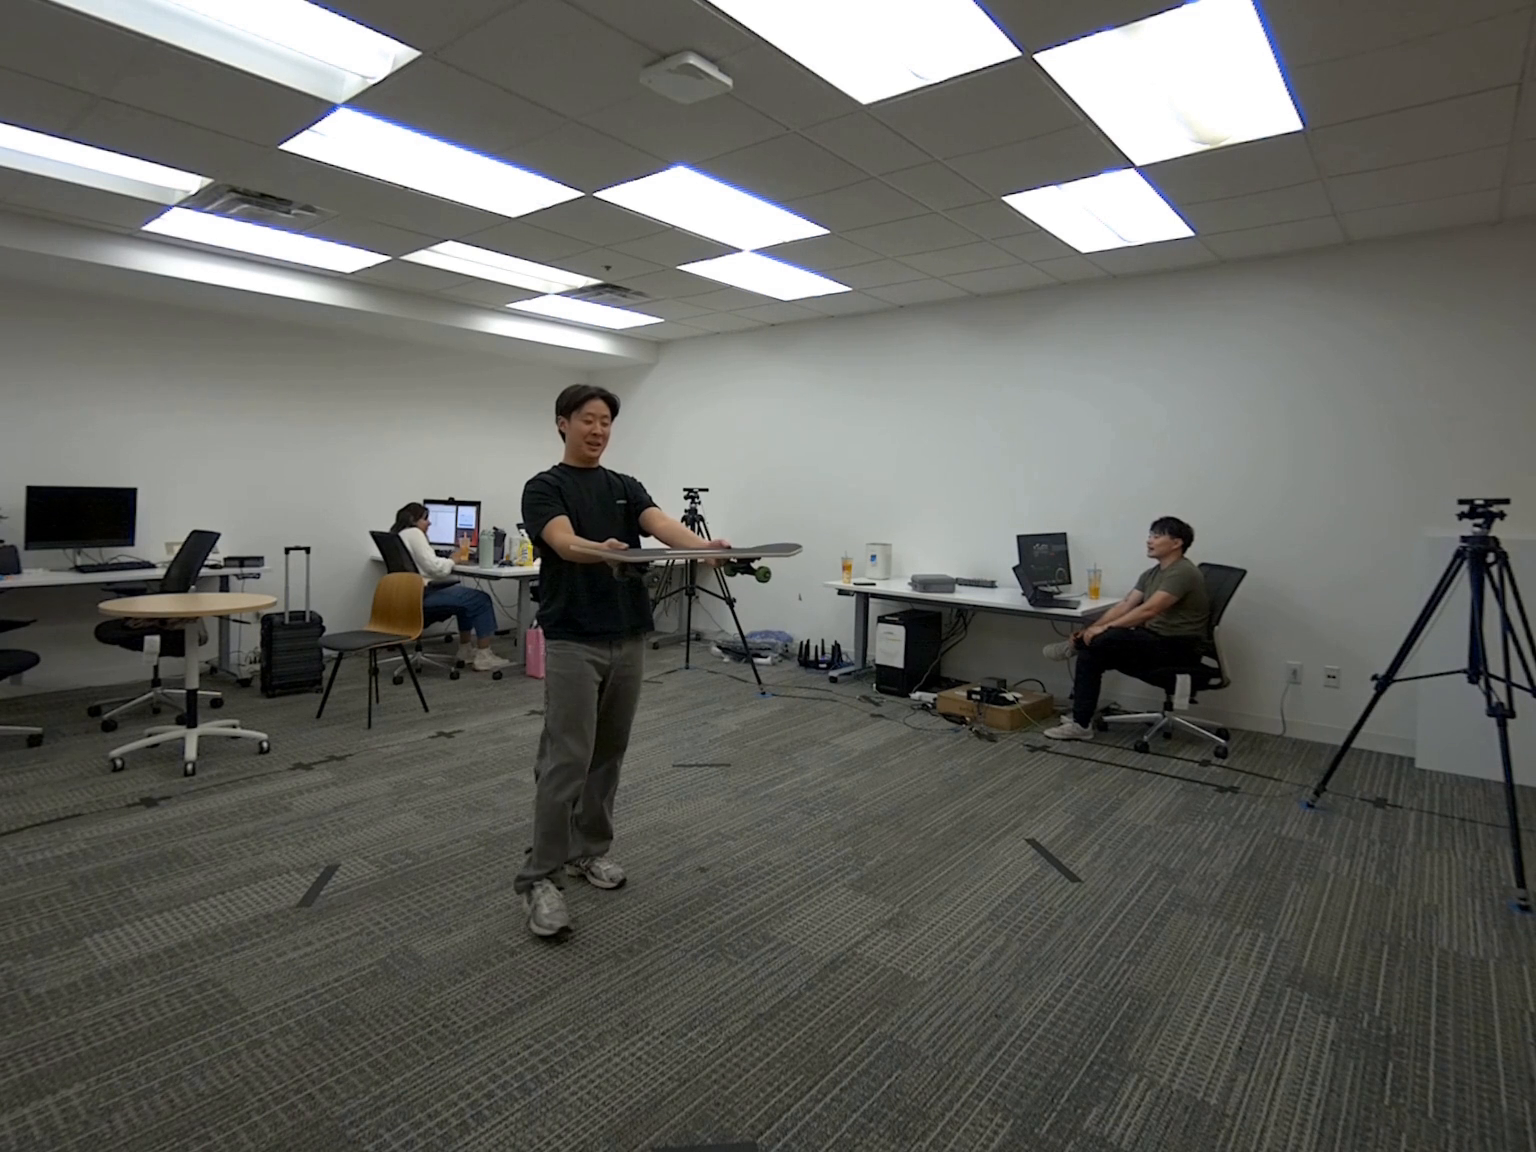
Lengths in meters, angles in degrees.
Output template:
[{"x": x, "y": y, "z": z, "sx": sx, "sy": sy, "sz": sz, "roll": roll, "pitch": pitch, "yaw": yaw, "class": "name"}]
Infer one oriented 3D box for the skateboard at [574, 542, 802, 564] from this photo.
[{"x": -0.219, "y": -0.034, "z": 2.472, "sx": 0.762, "sy": 0.110, "sz": 0.200, "roll": -2, "pitch": 8, "yaw": -37, "class": "skateboard"}]
